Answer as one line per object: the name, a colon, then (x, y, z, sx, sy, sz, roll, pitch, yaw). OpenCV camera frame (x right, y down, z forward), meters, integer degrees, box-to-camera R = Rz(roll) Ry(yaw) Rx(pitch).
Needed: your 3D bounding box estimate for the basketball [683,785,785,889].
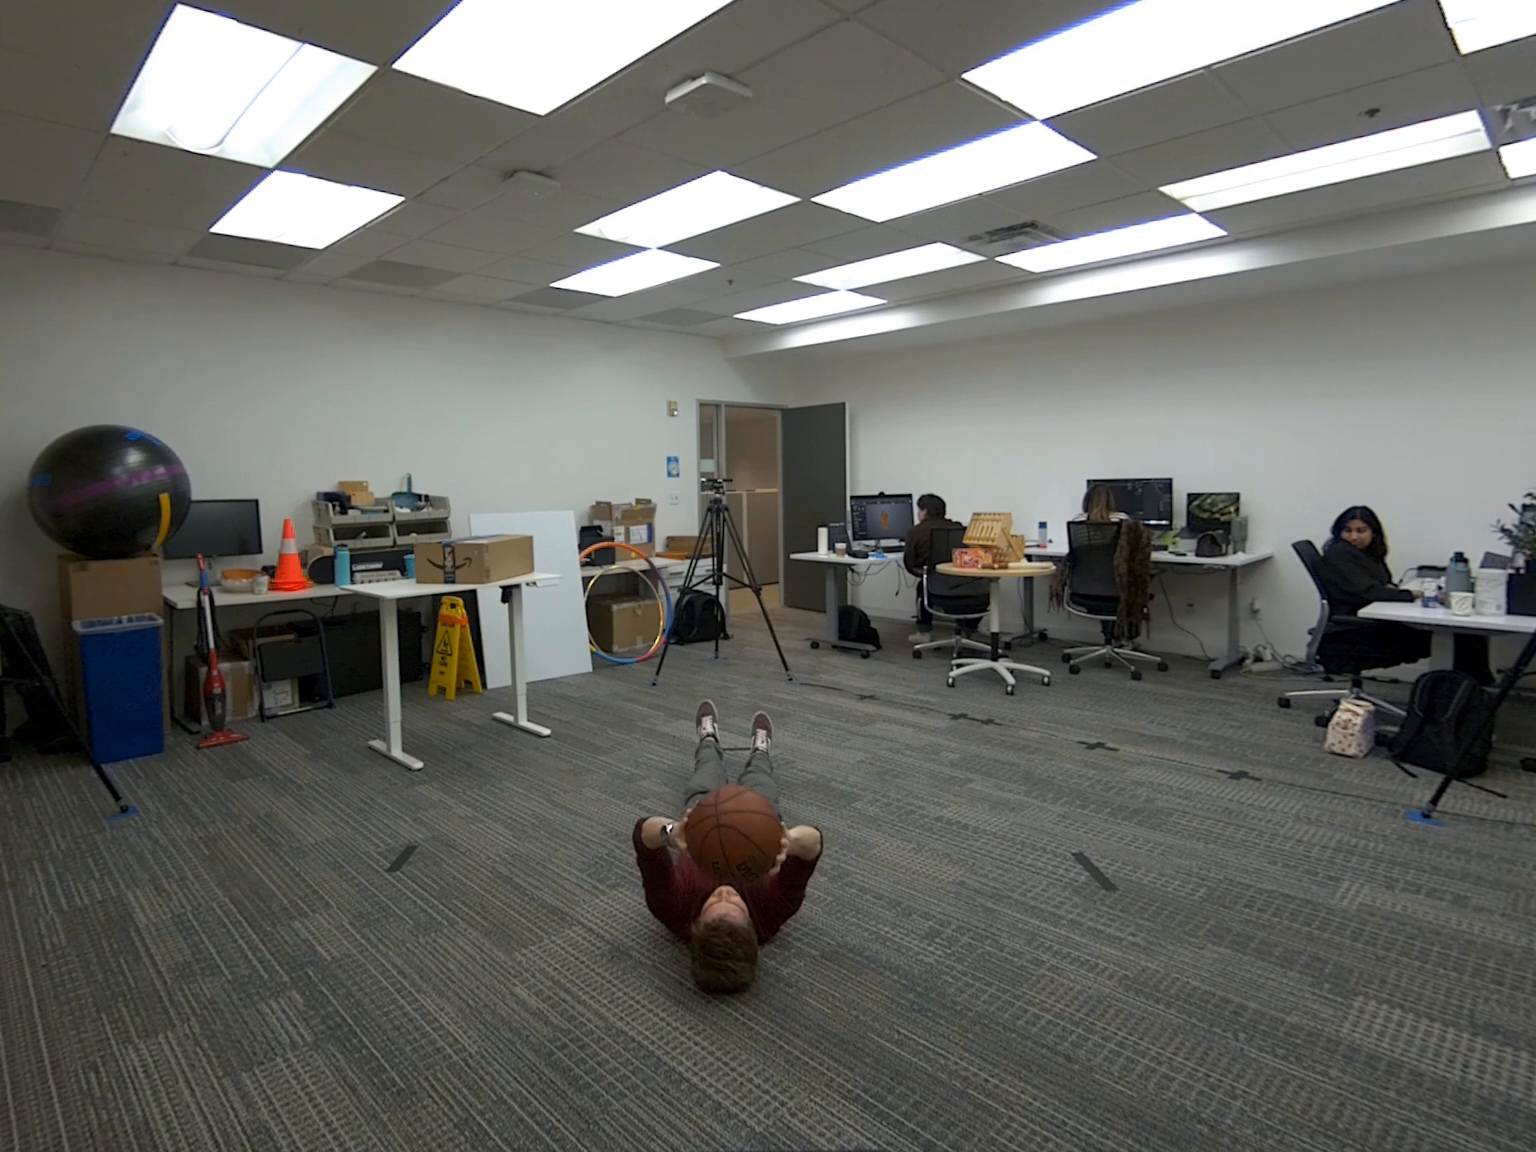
basketball: (-0.080, 0.642, 2.129, 0.236, 0.235, 0.237, -1, 5, -2)
